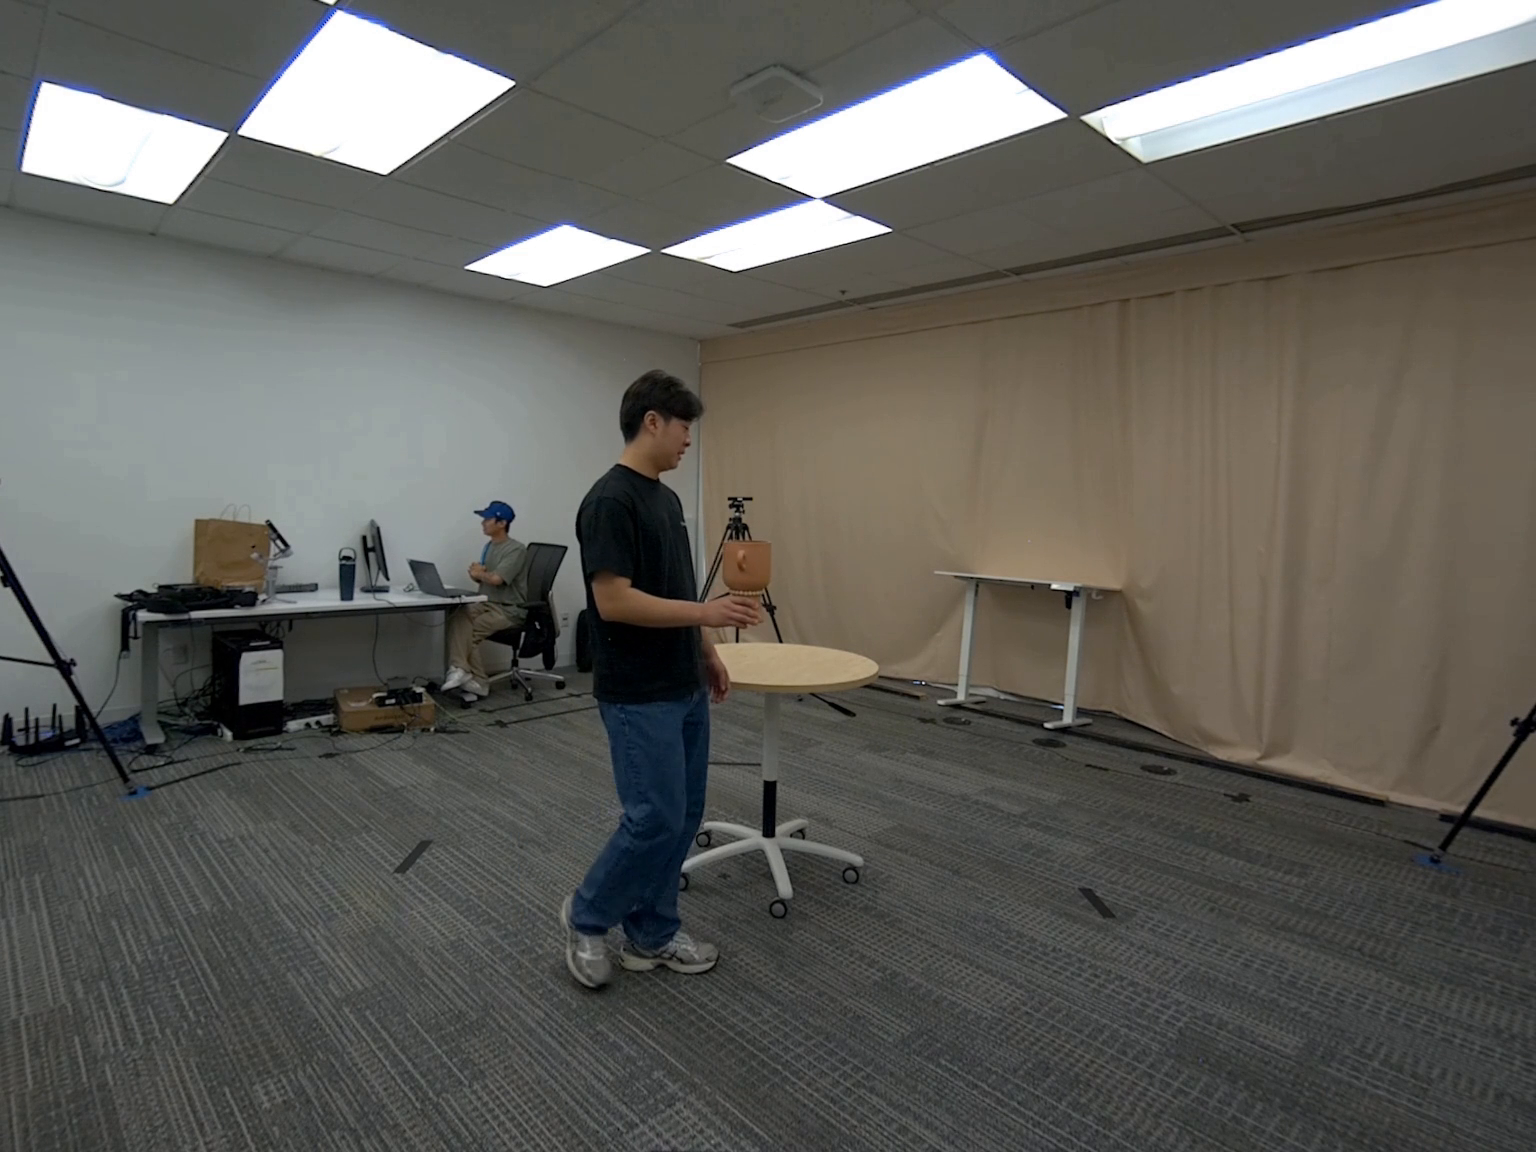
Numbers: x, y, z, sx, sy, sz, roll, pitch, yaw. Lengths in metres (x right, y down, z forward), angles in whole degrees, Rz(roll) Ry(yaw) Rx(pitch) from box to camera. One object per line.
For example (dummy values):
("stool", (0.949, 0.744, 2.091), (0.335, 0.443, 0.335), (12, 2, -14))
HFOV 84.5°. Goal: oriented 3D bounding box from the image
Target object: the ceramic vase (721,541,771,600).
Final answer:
("ceramic vase", (-0.067, 0.017, 2.284), (0.155, 0.219, 0.138), (-3, 5, -41))
